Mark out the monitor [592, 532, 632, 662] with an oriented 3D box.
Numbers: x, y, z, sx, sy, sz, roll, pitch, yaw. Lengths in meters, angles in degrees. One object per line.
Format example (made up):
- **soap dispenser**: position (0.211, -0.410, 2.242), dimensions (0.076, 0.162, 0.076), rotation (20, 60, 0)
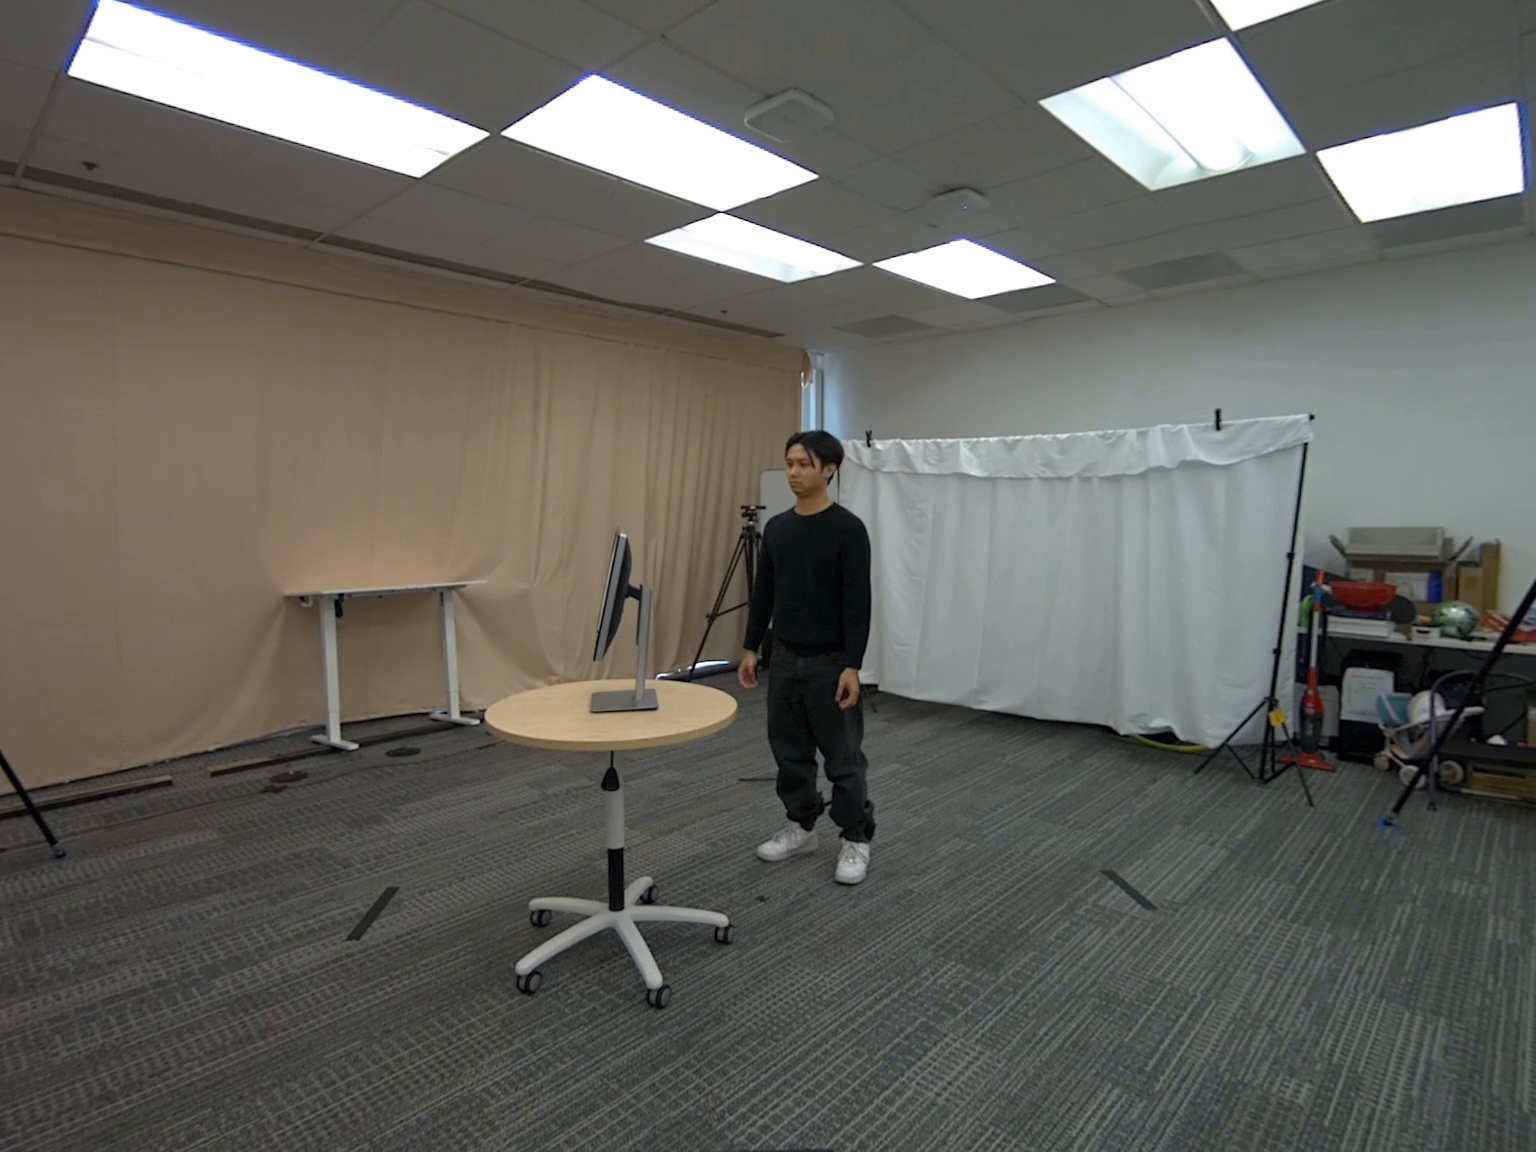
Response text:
- **monitor**: position (-0.453, 0.130, 2.620), dimensions (0.173, 0.514, 0.537), rotation (-4, 5, -12)
